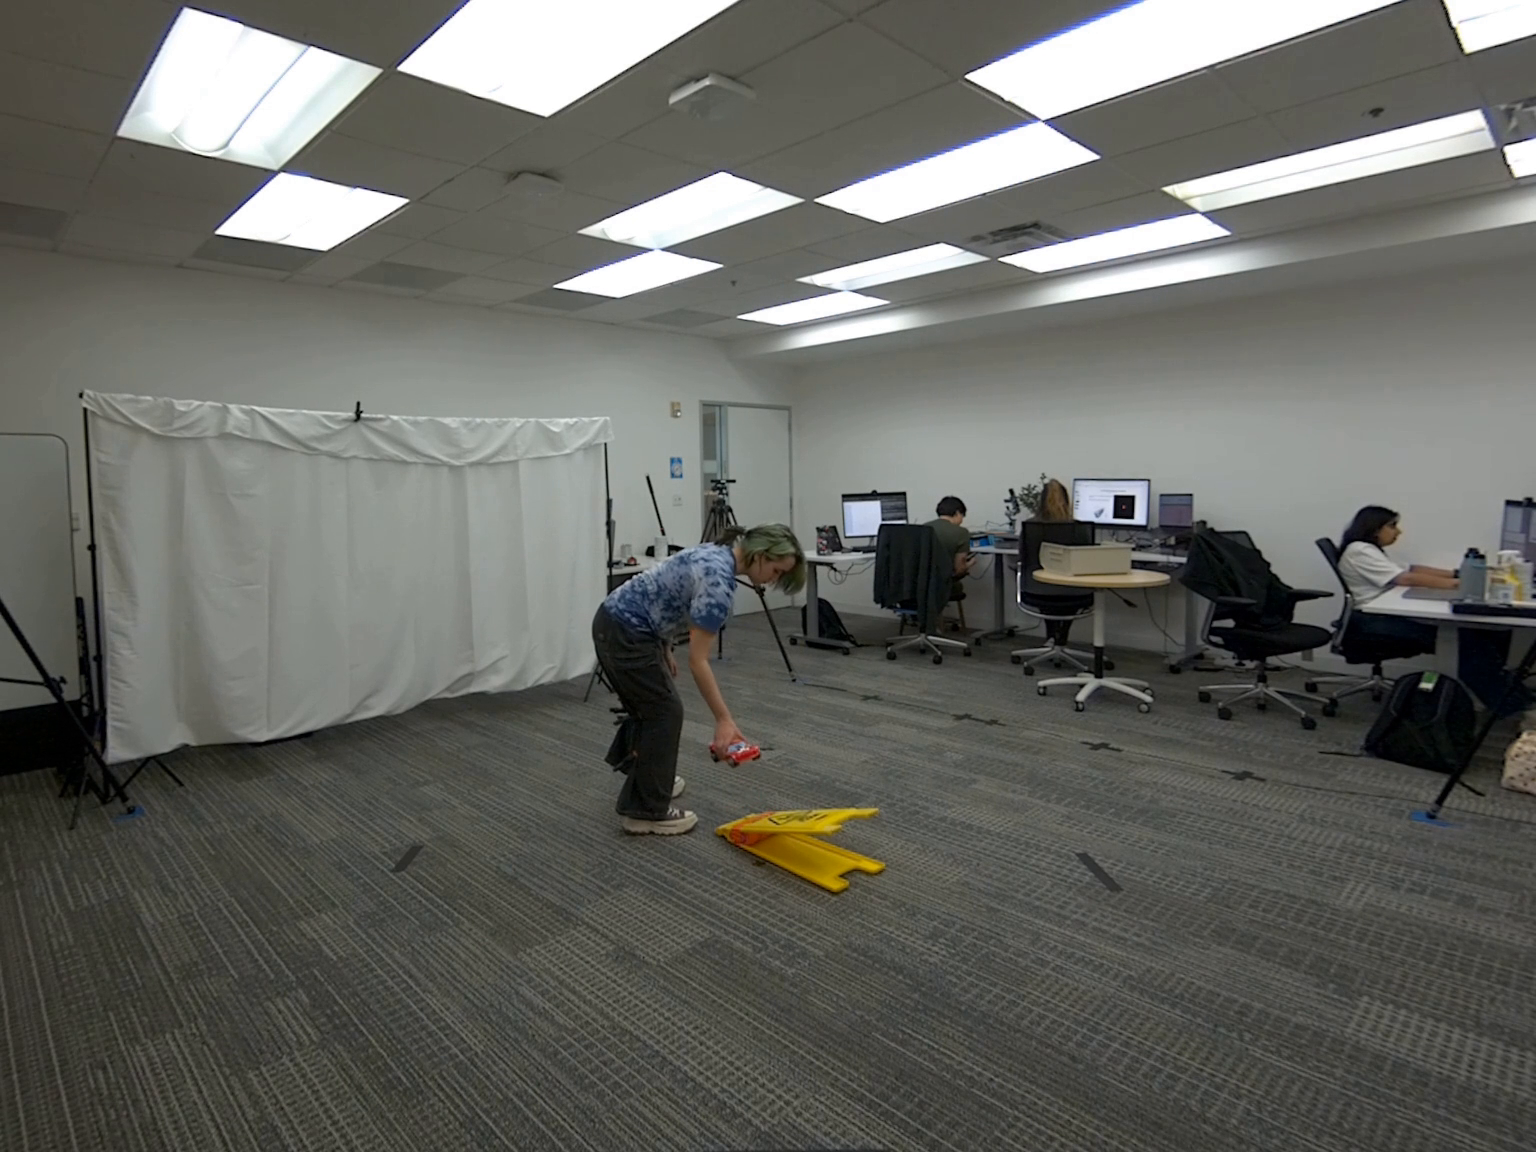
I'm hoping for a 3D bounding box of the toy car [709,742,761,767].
[{"bbox_3d":[-0.125,0.647,3.137,0.128,0.082,0.262,-13,12,-27],"label":"toy car"}]
